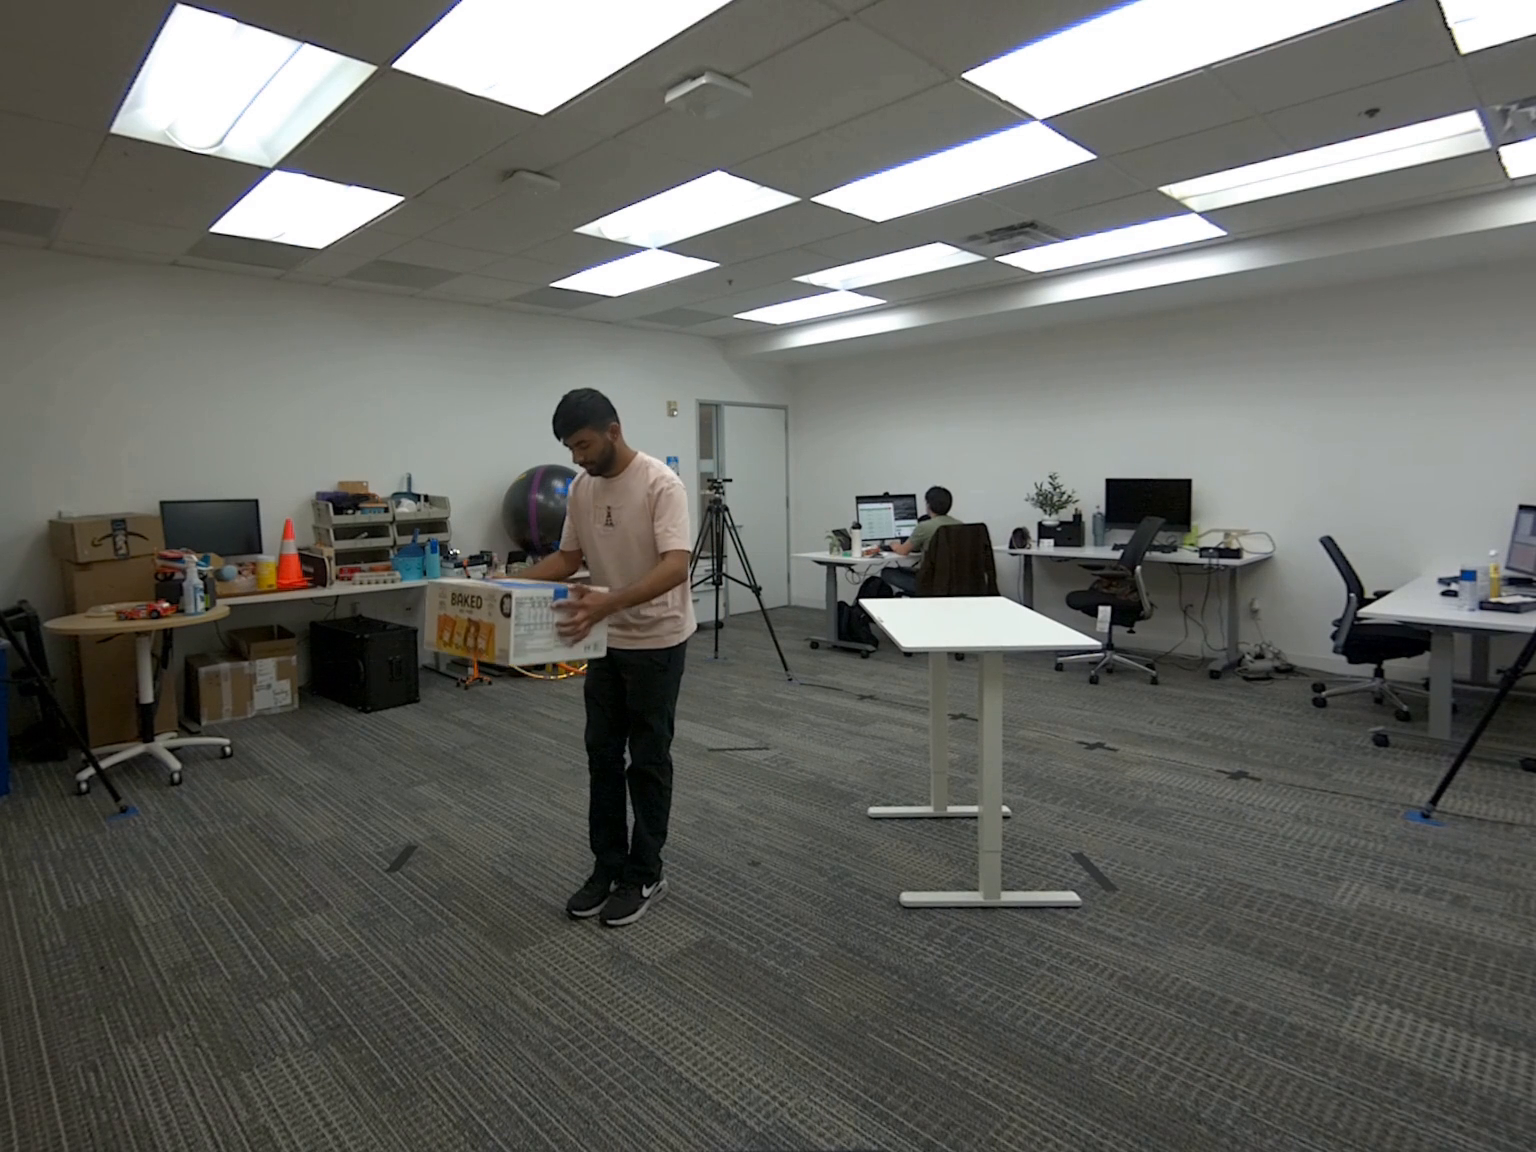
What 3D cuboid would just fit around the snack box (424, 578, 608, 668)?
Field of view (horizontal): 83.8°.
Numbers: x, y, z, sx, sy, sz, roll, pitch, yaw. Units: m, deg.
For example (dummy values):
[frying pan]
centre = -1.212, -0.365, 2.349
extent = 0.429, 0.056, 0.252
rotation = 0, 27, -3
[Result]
[snack box]
centre = -0.724, 0.129, 2.466
extent = 0.417, 0.206, 0.330
rotation = 3, 1, 38
